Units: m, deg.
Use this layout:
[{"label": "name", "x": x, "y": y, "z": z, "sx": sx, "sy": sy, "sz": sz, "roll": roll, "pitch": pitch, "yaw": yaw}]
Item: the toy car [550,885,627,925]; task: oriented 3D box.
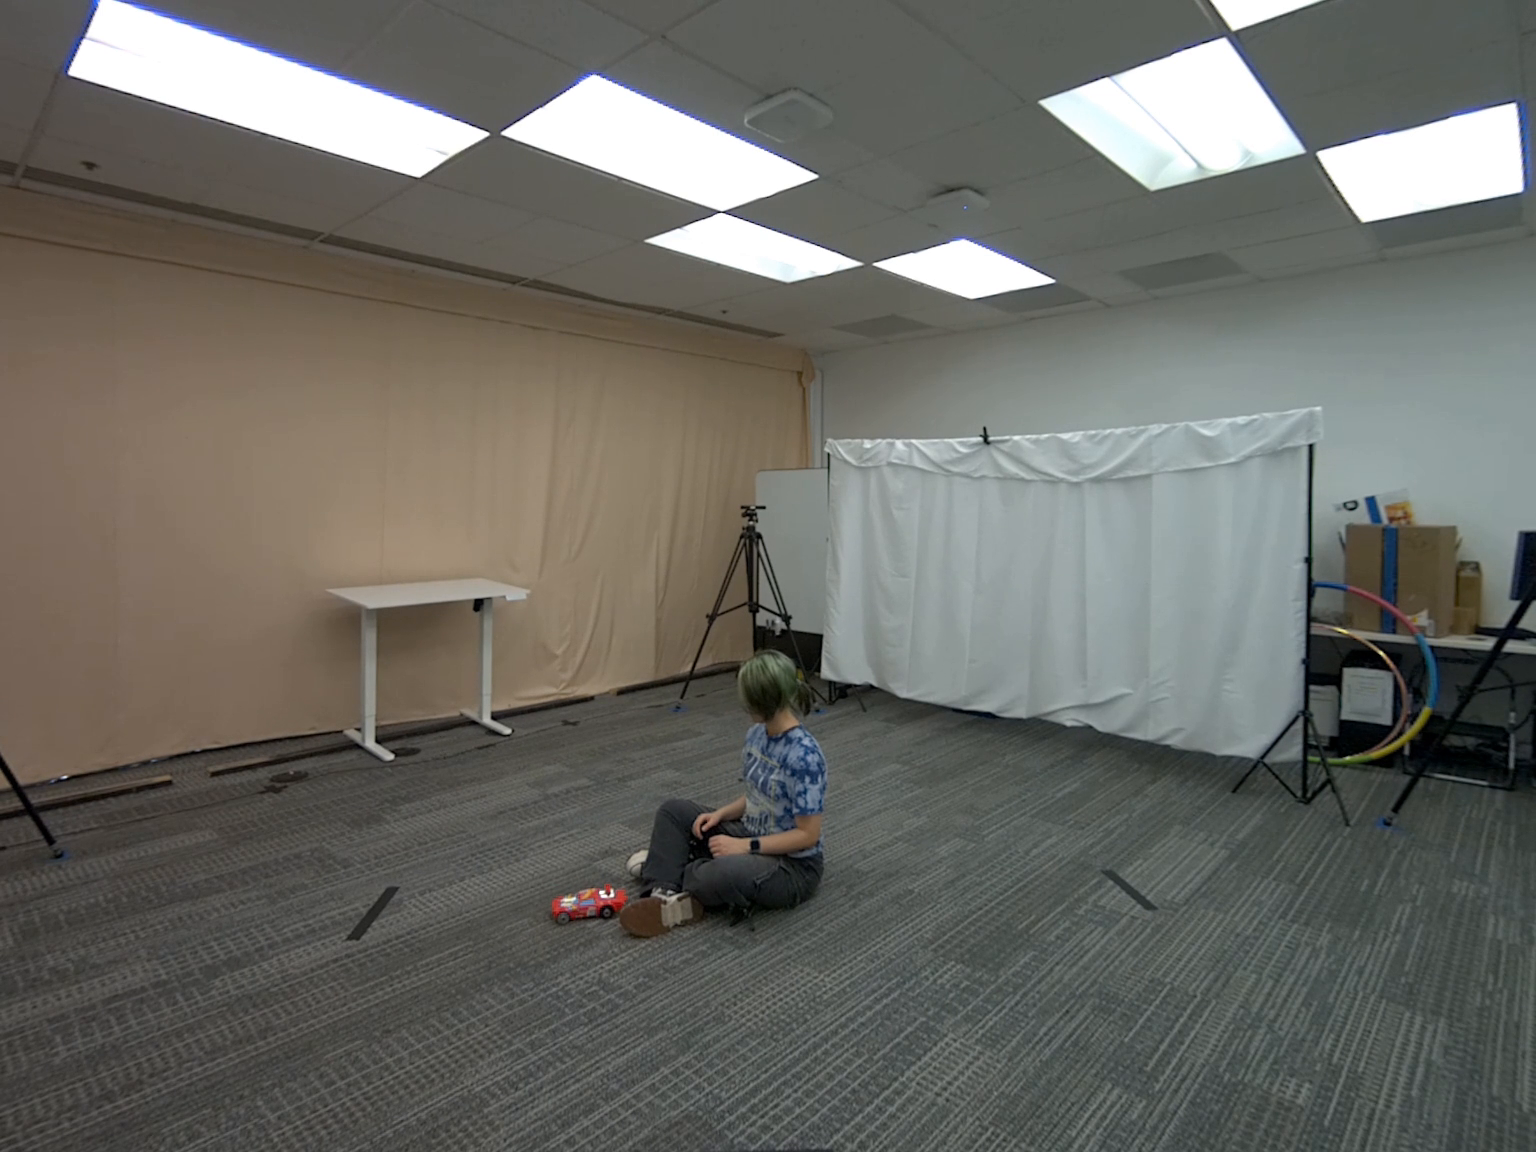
[{"label": "toy car", "x": -0.608, "y": 1.127, "z": 2.885, "sx": 0.251, "sy": 0.083, "sz": 0.132, "roll": -13, "pitch": 6, "yaw": -13}]
